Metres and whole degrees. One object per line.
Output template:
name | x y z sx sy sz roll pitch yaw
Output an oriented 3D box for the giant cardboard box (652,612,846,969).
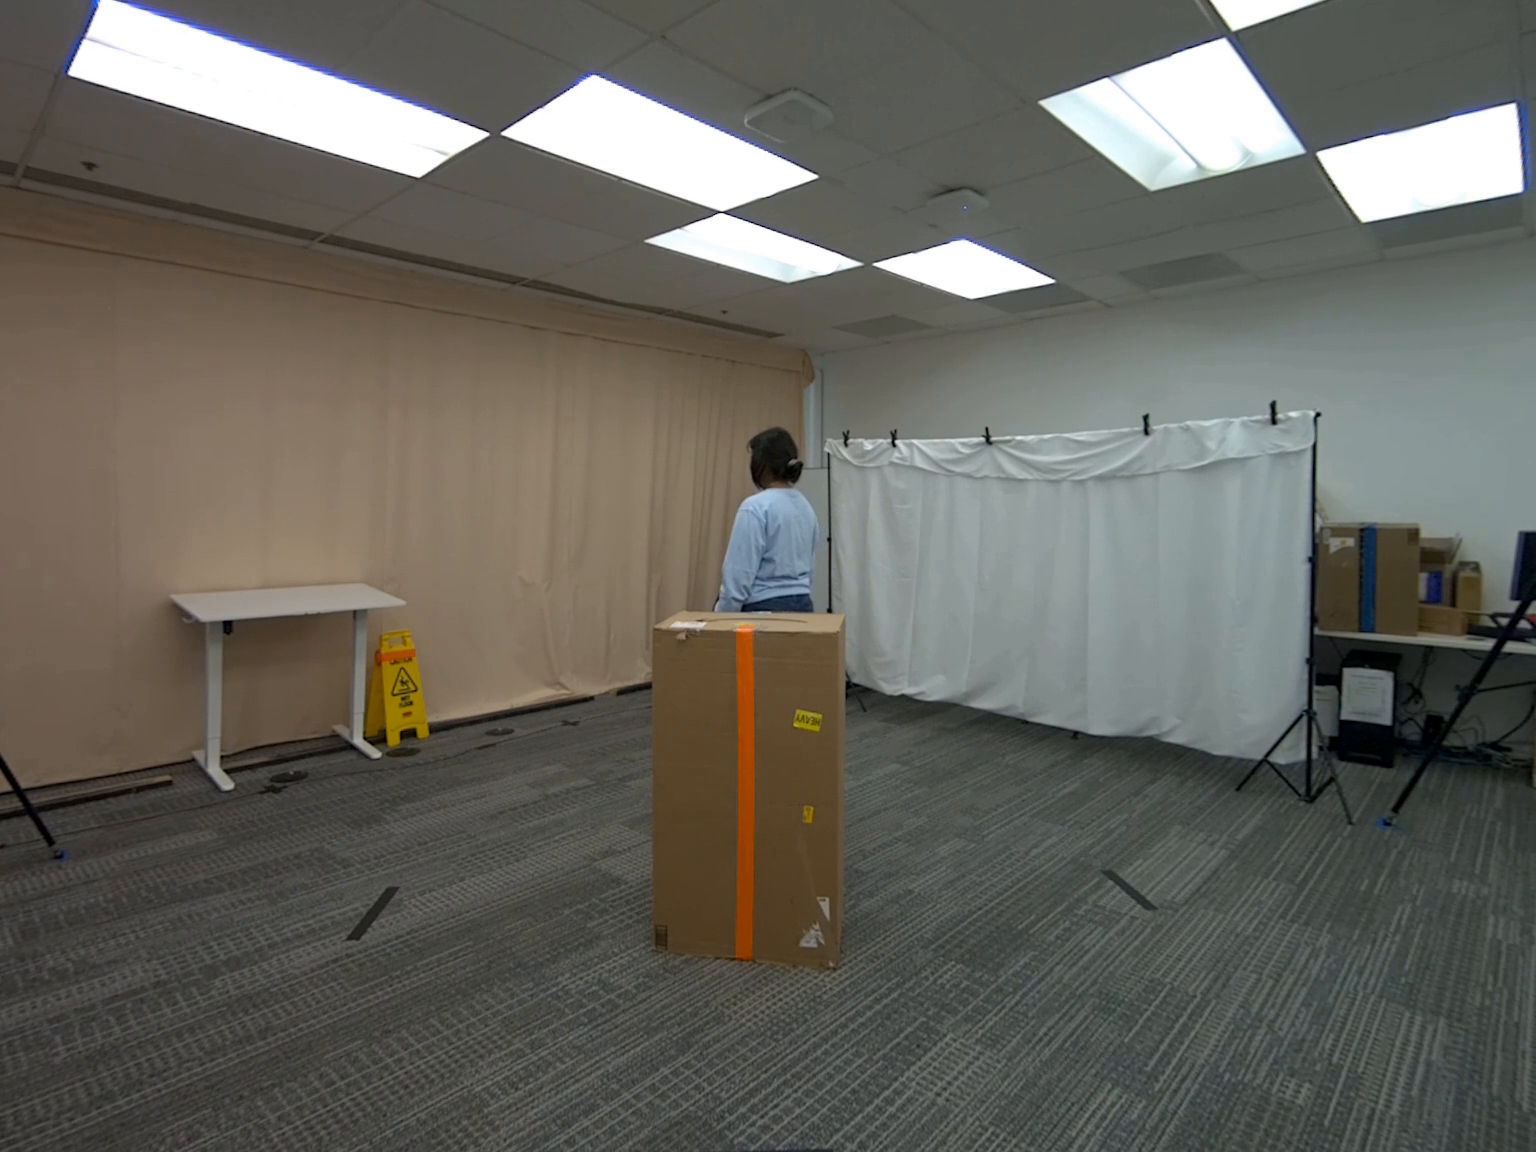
giant cardboard box | -0.049 0.653 2.762 0.584 1.023 0.422 0 3 9
